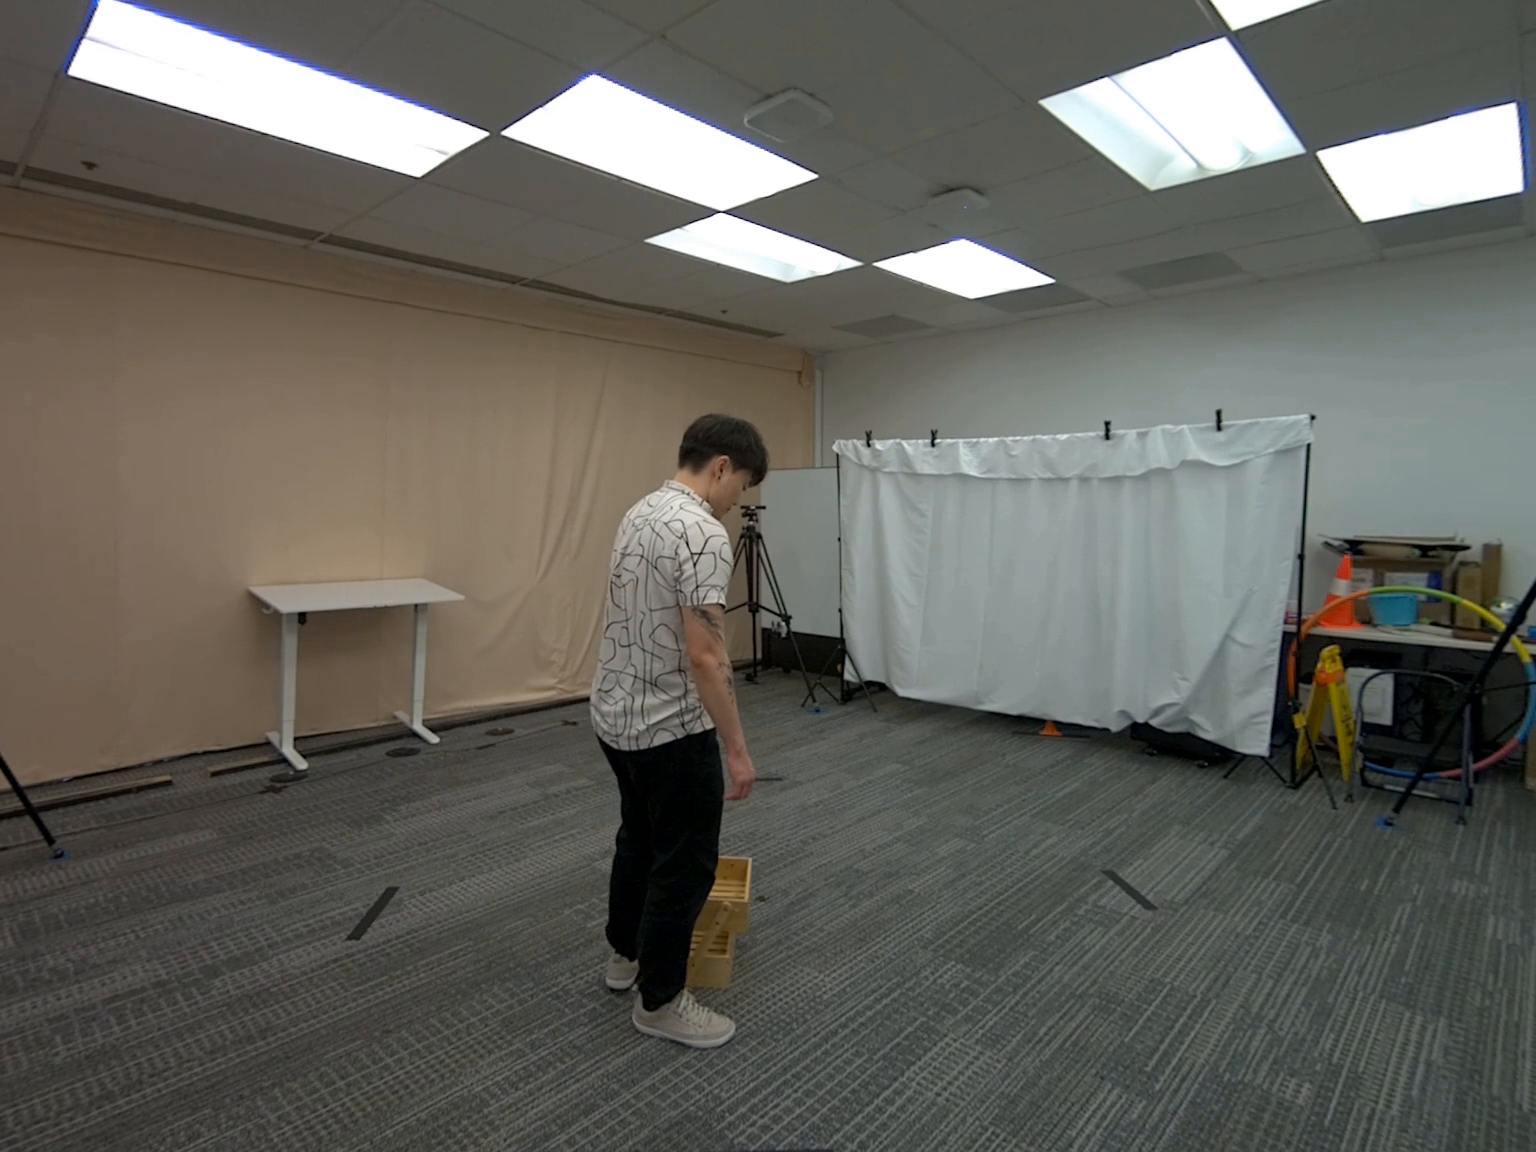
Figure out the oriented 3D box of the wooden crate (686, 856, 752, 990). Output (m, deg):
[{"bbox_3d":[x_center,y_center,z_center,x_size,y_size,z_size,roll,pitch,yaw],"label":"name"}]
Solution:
[{"bbox_3d":[-0.206,1.046,2.576,0.303,0.272,0.324,0,5,3],"label":"wooden crate"}]
